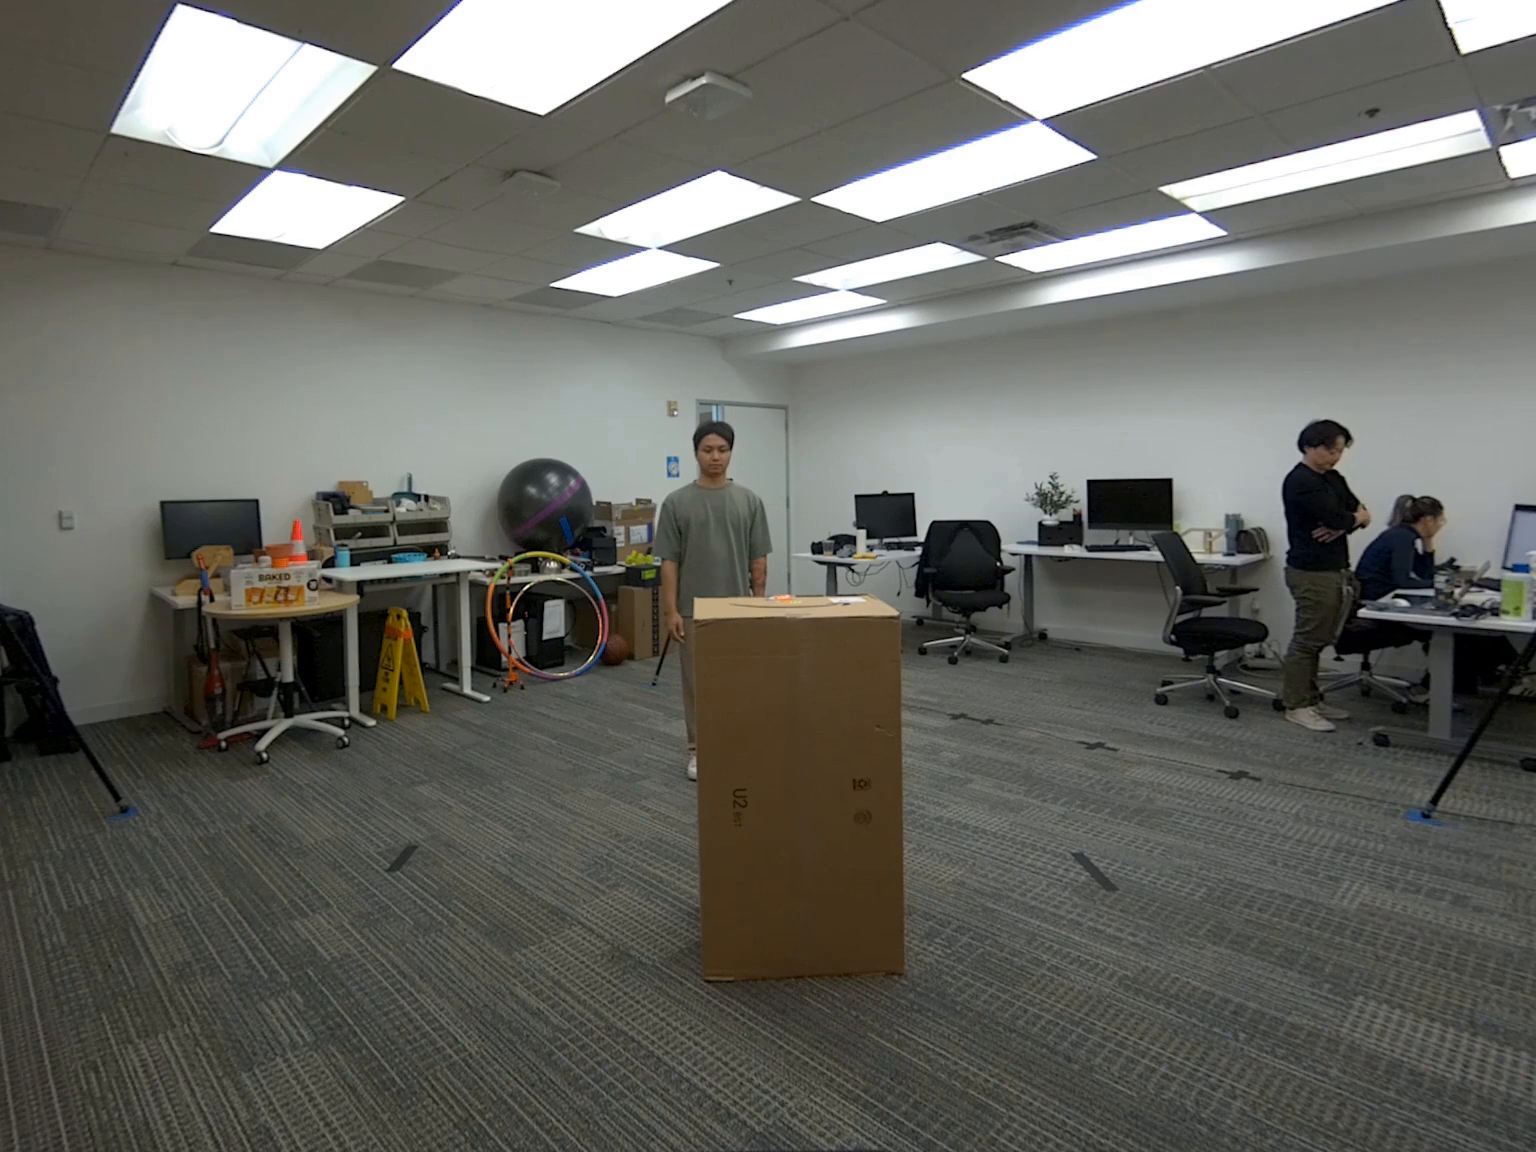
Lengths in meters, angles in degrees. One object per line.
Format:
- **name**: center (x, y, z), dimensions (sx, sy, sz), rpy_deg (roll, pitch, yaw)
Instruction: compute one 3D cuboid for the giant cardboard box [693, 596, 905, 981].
- **giant cardboard box**: center (0.080, 0.597, 2.569), dimensions (0.575, 1.022, 0.429), rpy_deg (-1, 4, -4)
